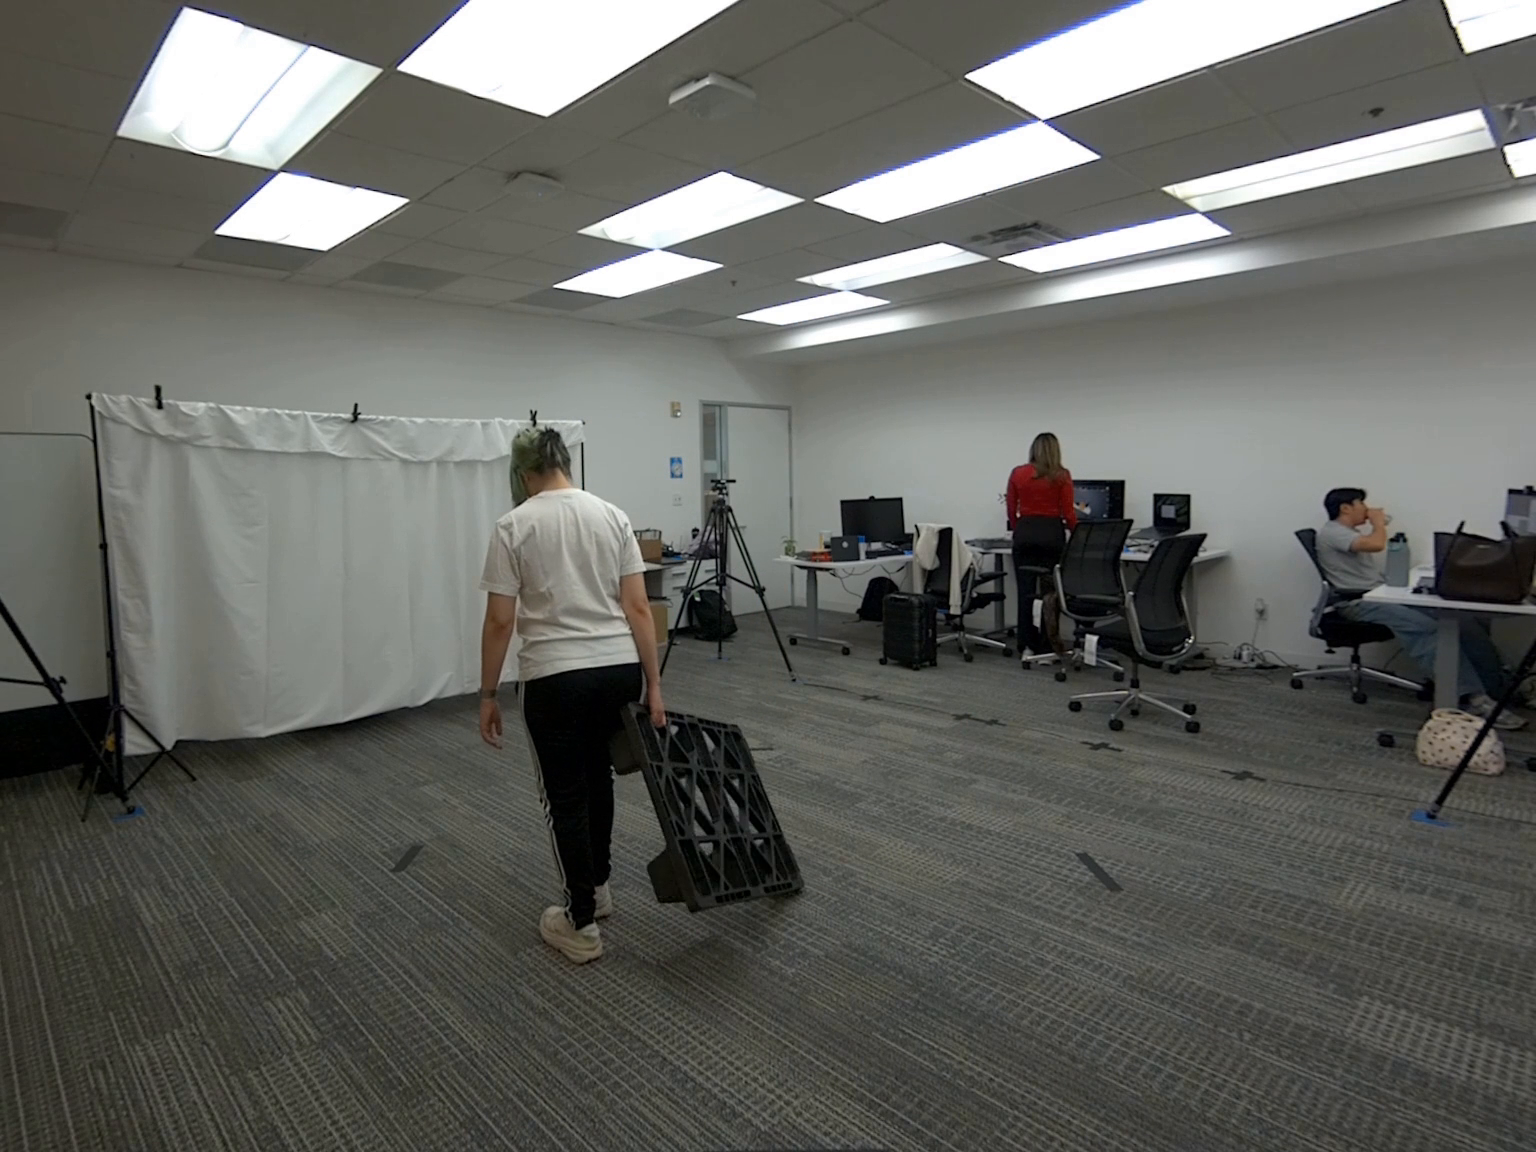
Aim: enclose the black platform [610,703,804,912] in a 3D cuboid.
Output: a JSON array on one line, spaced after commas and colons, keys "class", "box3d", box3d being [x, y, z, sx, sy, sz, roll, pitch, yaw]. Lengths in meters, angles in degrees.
[{"class": "black platform", "box3d": [-0.186, 0.748, 2.719, 0.144, 0.623, 0.779, -31, -25, 13]}]
